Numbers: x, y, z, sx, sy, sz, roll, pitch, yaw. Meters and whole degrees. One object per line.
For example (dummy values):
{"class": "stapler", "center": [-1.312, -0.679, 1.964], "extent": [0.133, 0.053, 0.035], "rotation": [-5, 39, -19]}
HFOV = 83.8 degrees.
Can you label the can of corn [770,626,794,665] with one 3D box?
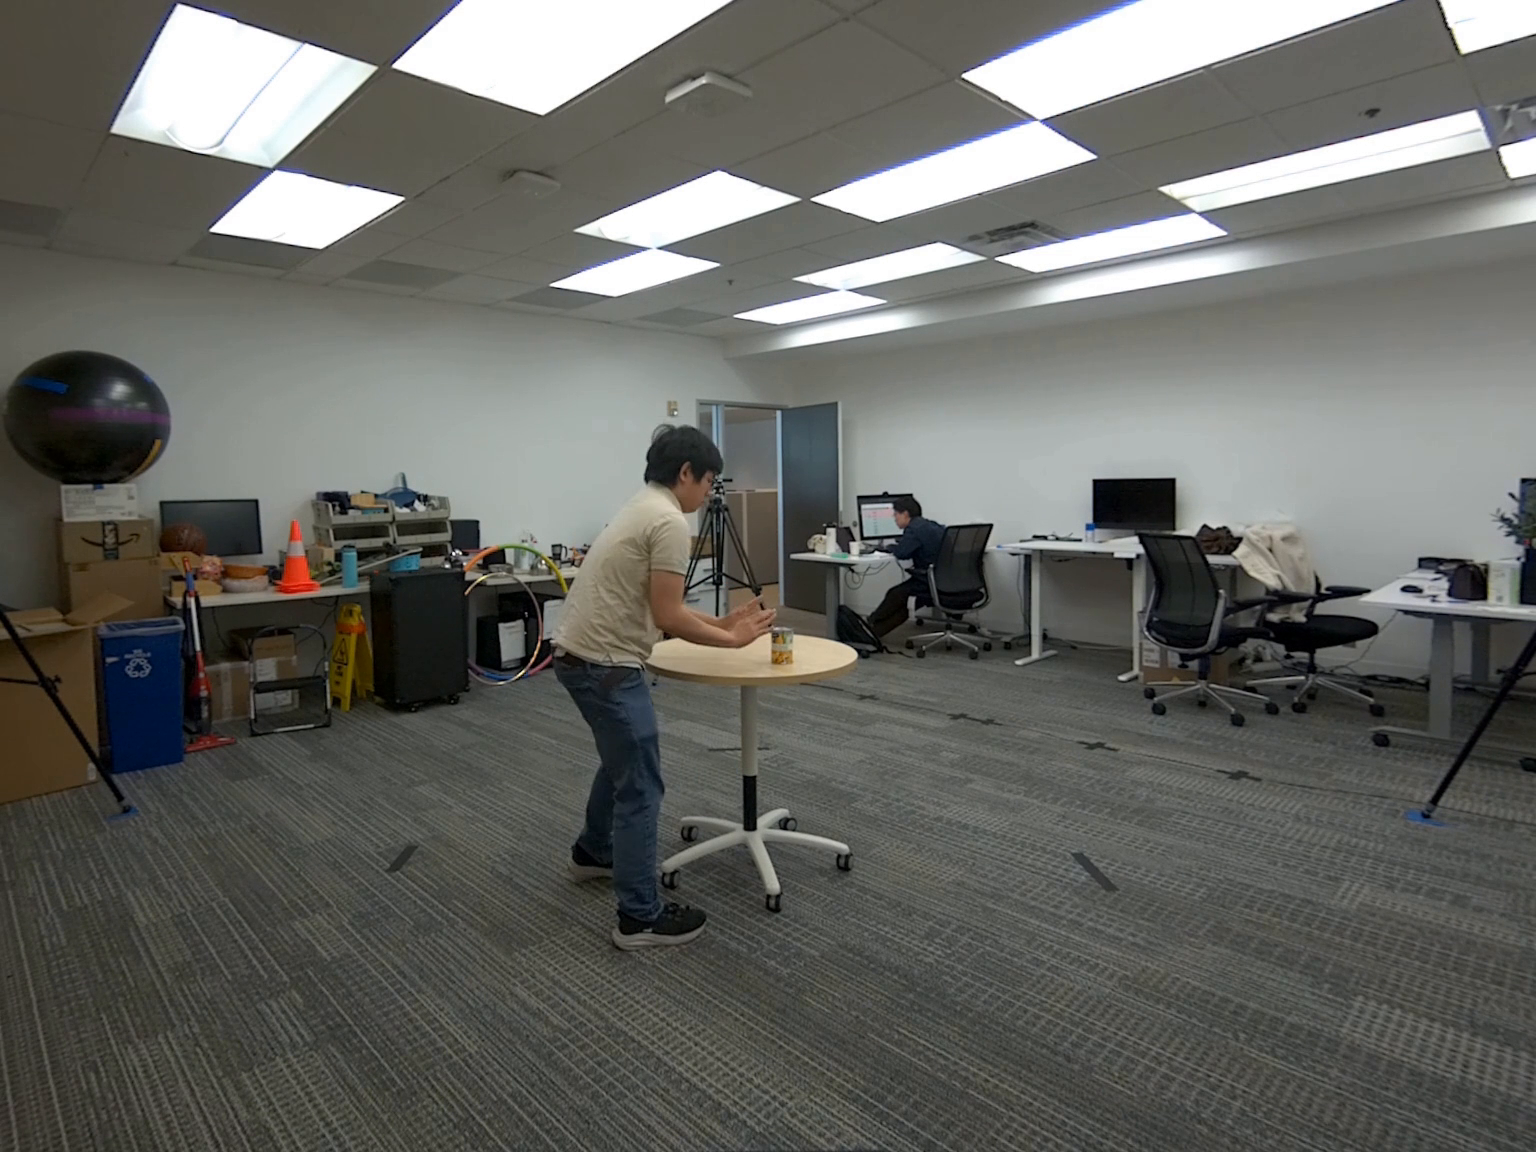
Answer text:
{"class": "can of corn", "center": [0.051, 0.236, 2.852], "extent": [0.074, 0.110, 0.074], "rotation": [-1, 5, -2]}
